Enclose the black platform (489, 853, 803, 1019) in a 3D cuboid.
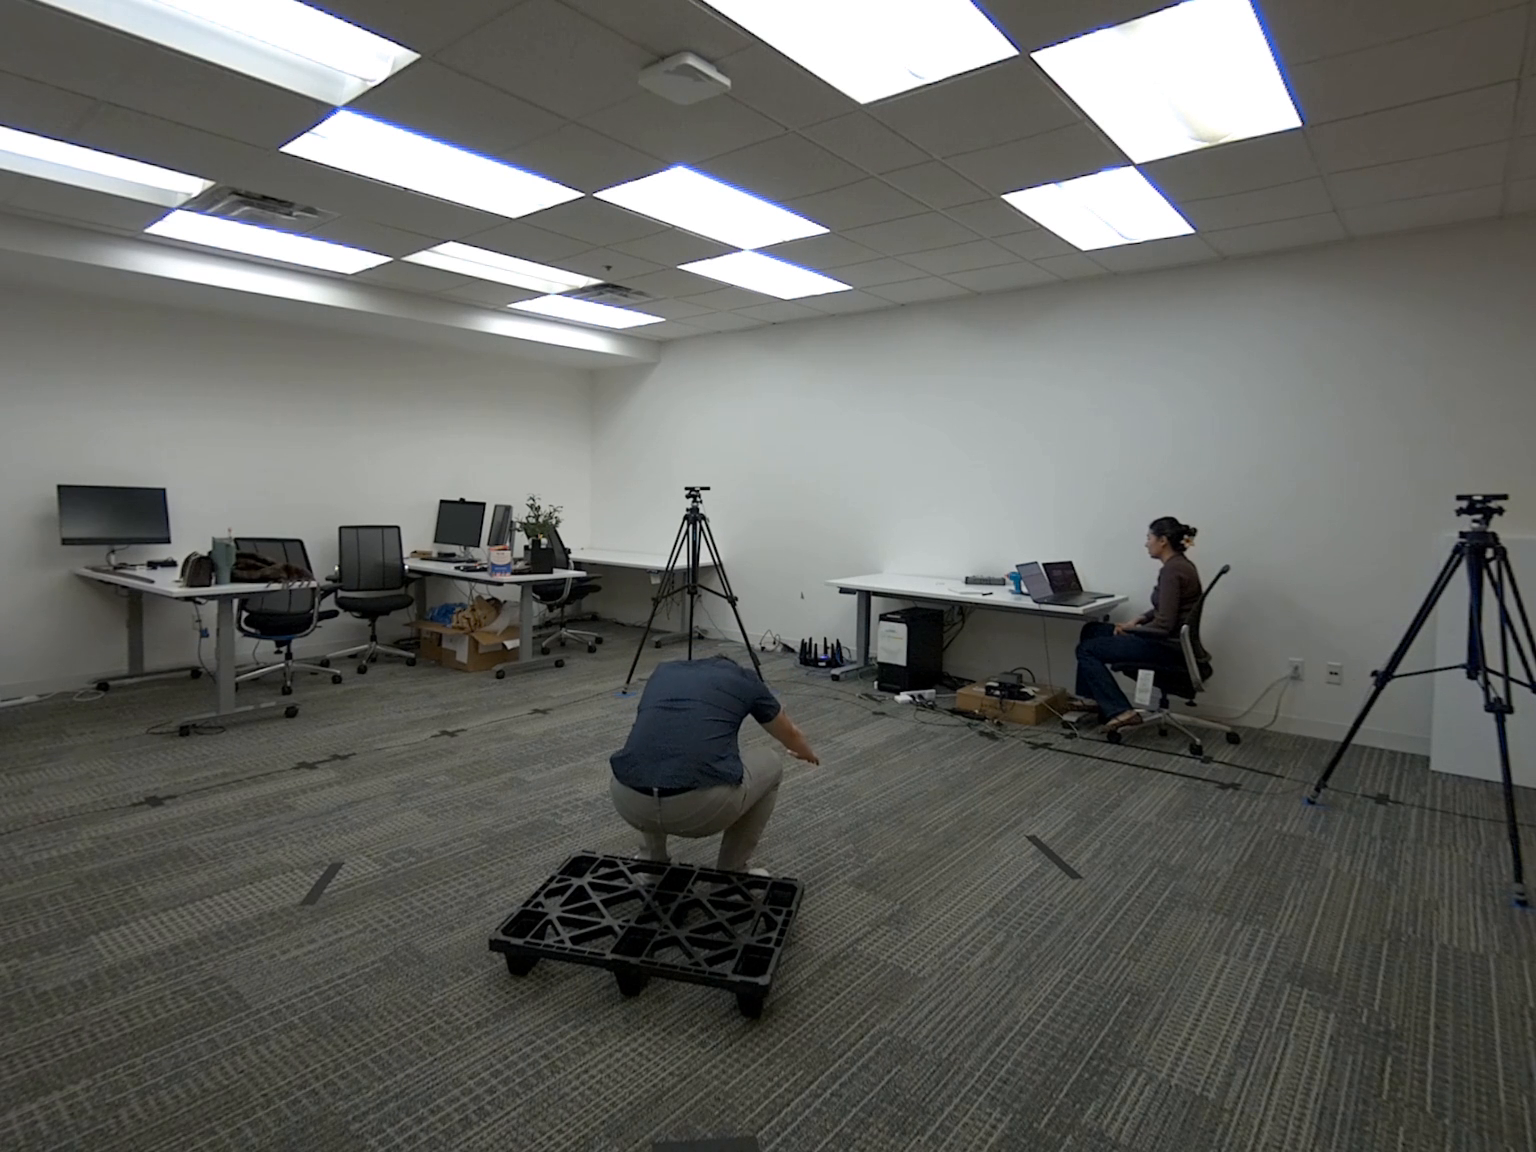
[{"bbox_3d":[-0.345,1.056,2.545,0.818,0.143,0.598,2,5,13],"label":"black platform"}]
